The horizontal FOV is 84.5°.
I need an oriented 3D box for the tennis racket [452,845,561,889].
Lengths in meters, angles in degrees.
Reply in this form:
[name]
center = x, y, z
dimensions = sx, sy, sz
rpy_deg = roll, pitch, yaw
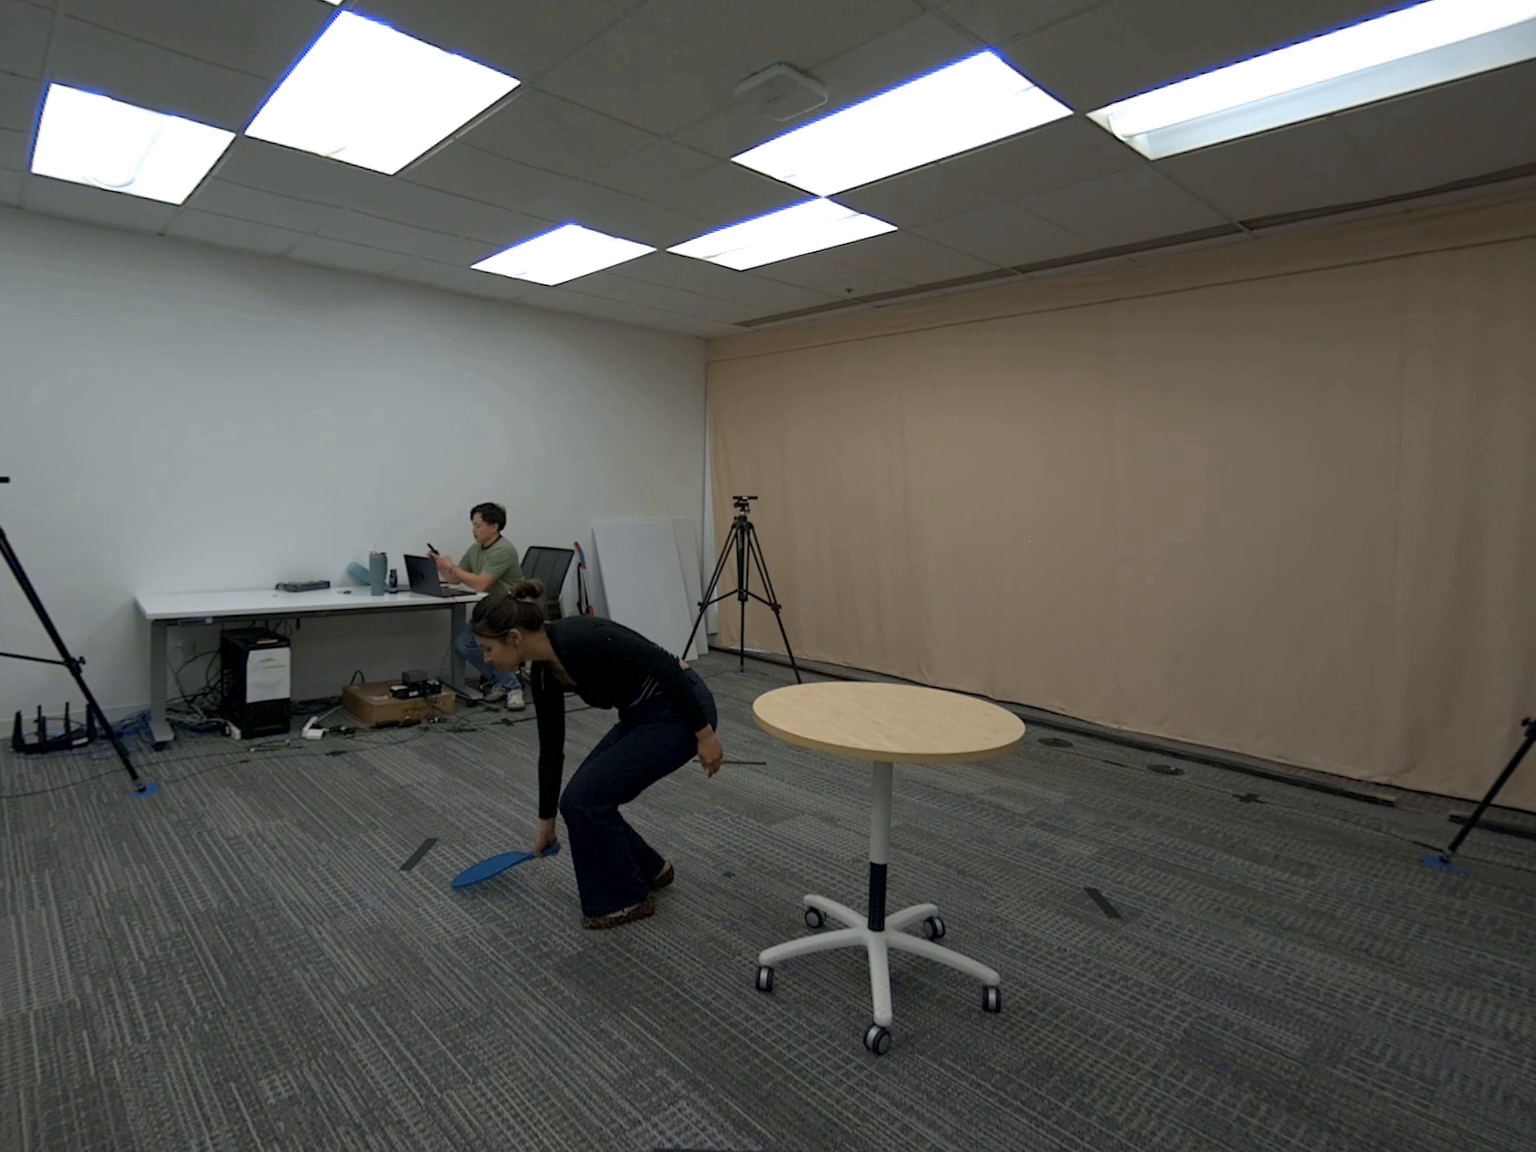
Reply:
[tennis racket]
center = -0.930, 1.021, 2.951
dimensions = 0.437, 0.032, 0.212
rpy_deg = -17, 4, 18
